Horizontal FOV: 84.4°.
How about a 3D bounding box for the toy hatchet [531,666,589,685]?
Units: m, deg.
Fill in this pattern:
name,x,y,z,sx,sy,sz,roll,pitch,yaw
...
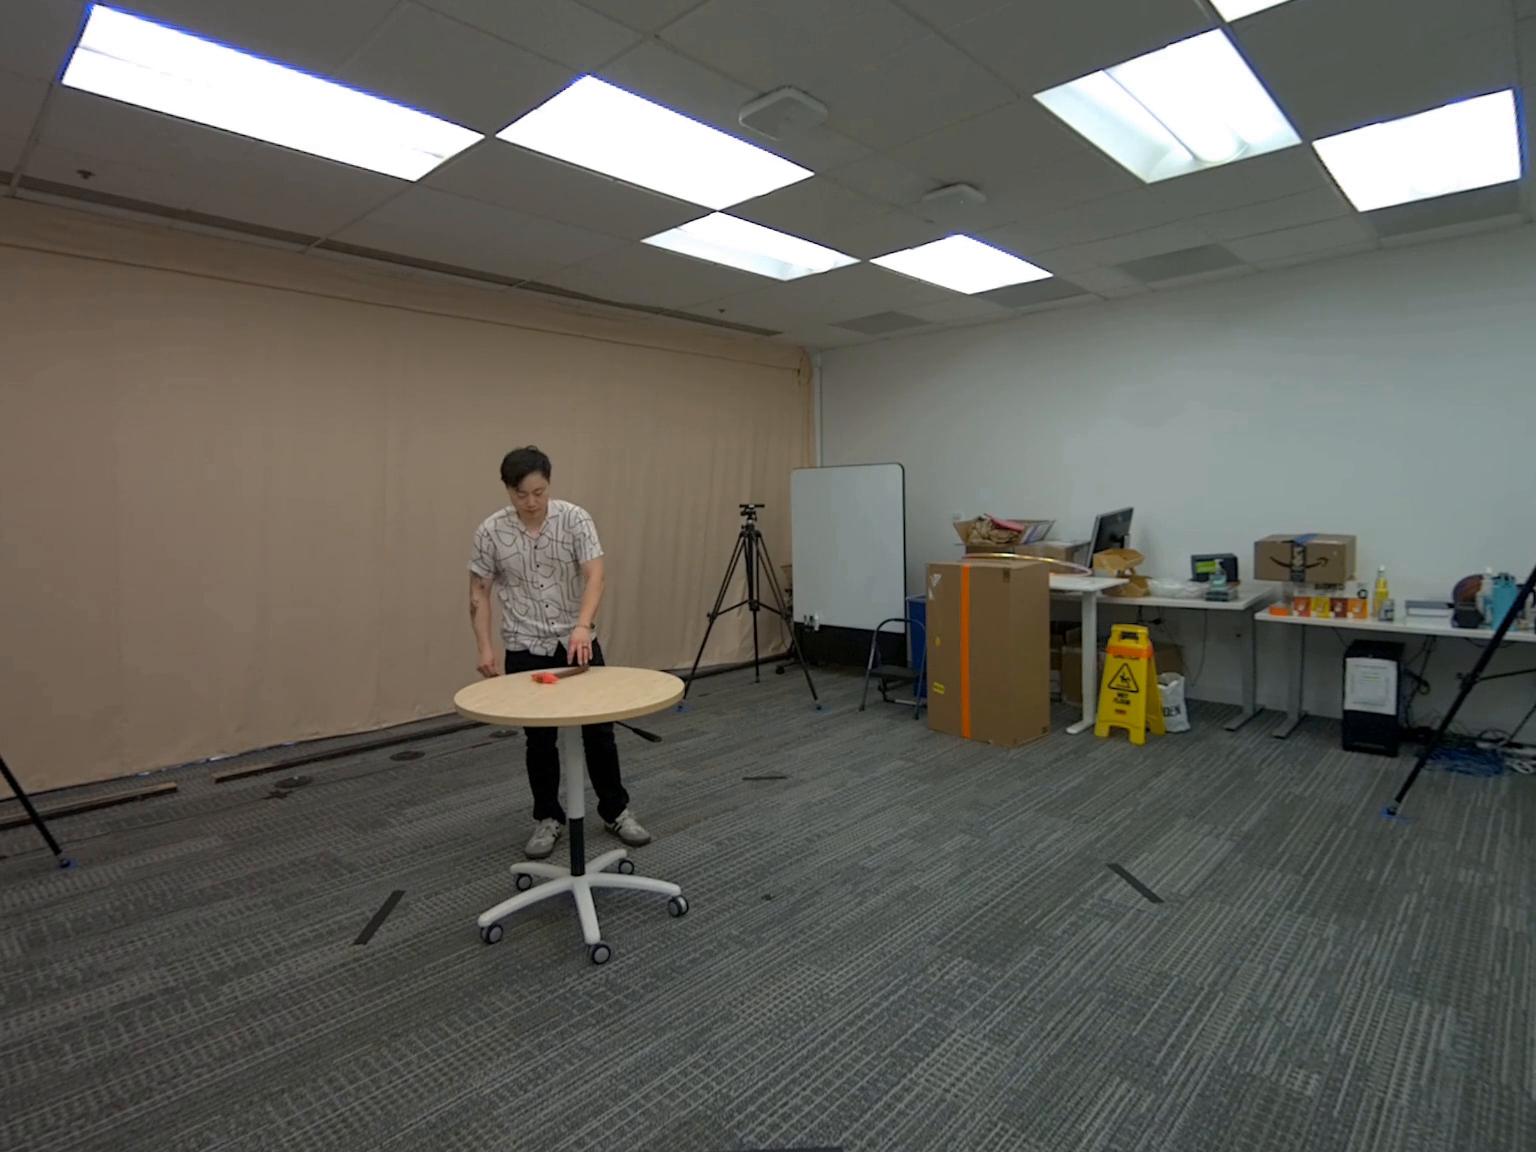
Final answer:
name,x,y,z,sx,sy,sz,roll,pitch,yaw
toy hatchet,-0.762,0.352,3.078,0.133,0.029,0.266,-1,3,14
